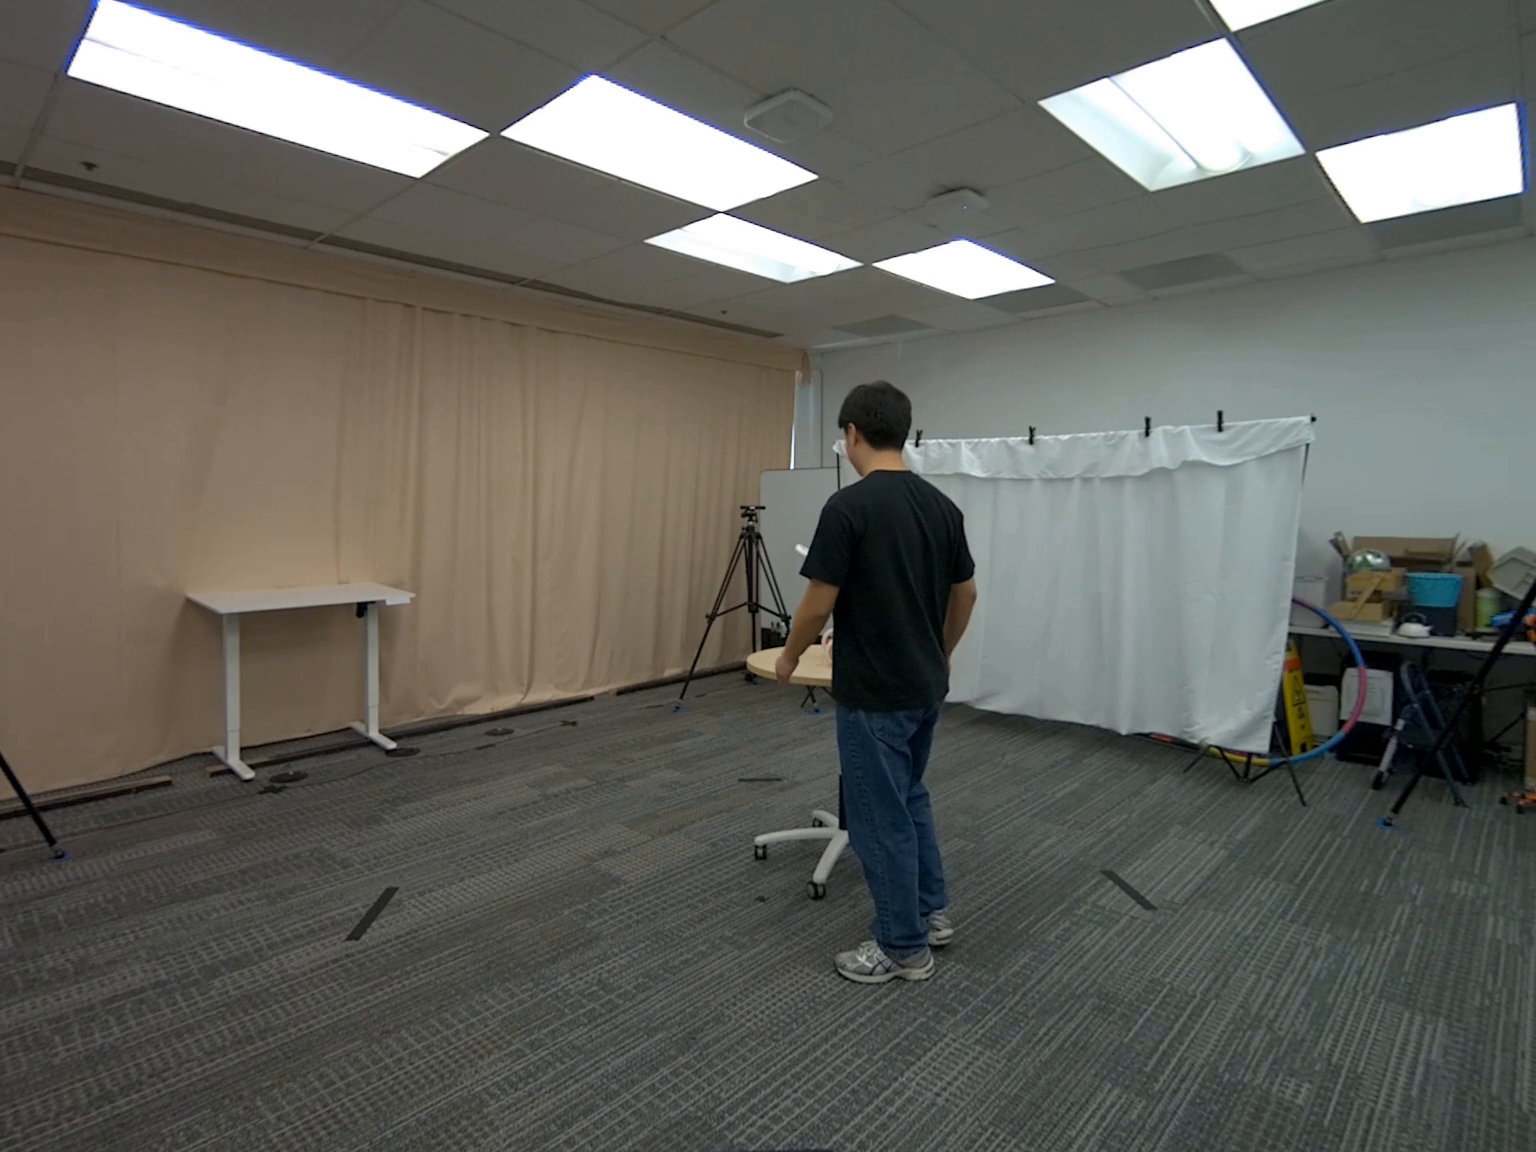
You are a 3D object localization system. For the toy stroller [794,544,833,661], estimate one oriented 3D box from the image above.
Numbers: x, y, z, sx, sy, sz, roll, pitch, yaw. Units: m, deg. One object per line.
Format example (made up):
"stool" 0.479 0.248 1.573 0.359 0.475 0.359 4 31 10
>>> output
"toy stroller" 0.338 0.101 3.197 0.344 0.534 0.280 -14 2 7
